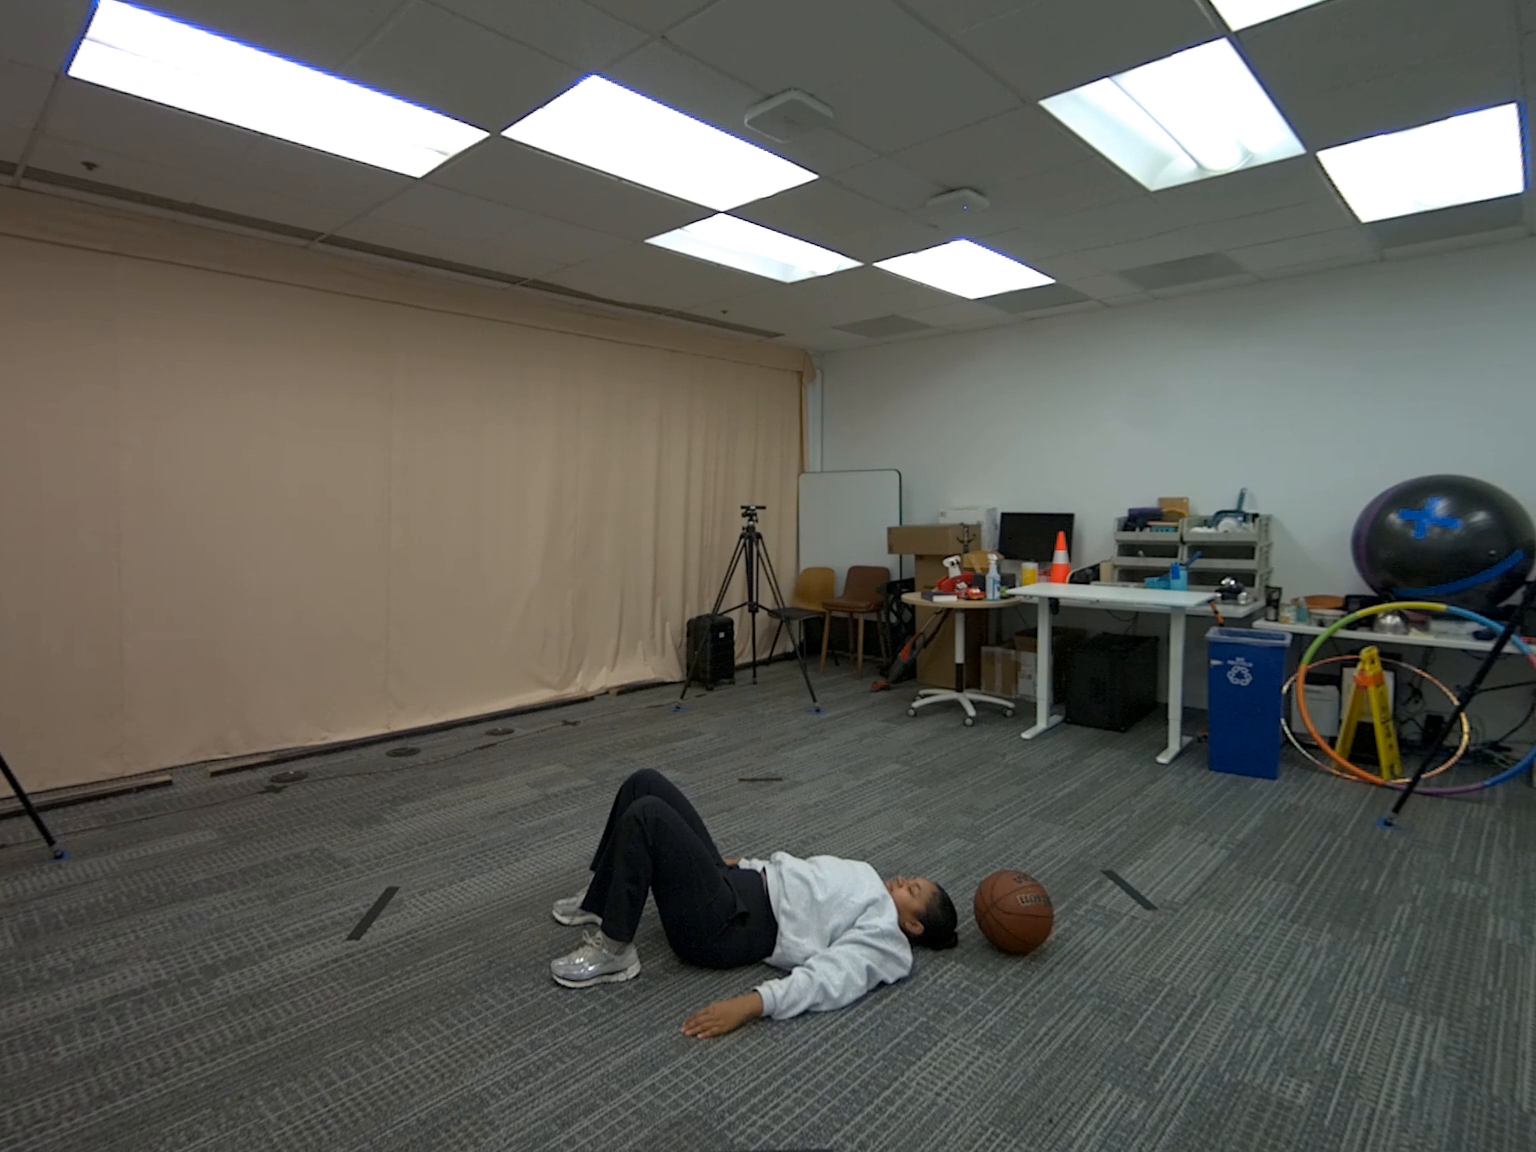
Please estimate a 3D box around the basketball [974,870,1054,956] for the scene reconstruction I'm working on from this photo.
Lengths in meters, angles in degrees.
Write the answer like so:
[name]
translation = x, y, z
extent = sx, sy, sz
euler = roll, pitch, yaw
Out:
[basketball]
translation = 0.781, 1.058, 2.640
extent = 0.236, 0.235, 0.237
euler = 0, 4, -2
